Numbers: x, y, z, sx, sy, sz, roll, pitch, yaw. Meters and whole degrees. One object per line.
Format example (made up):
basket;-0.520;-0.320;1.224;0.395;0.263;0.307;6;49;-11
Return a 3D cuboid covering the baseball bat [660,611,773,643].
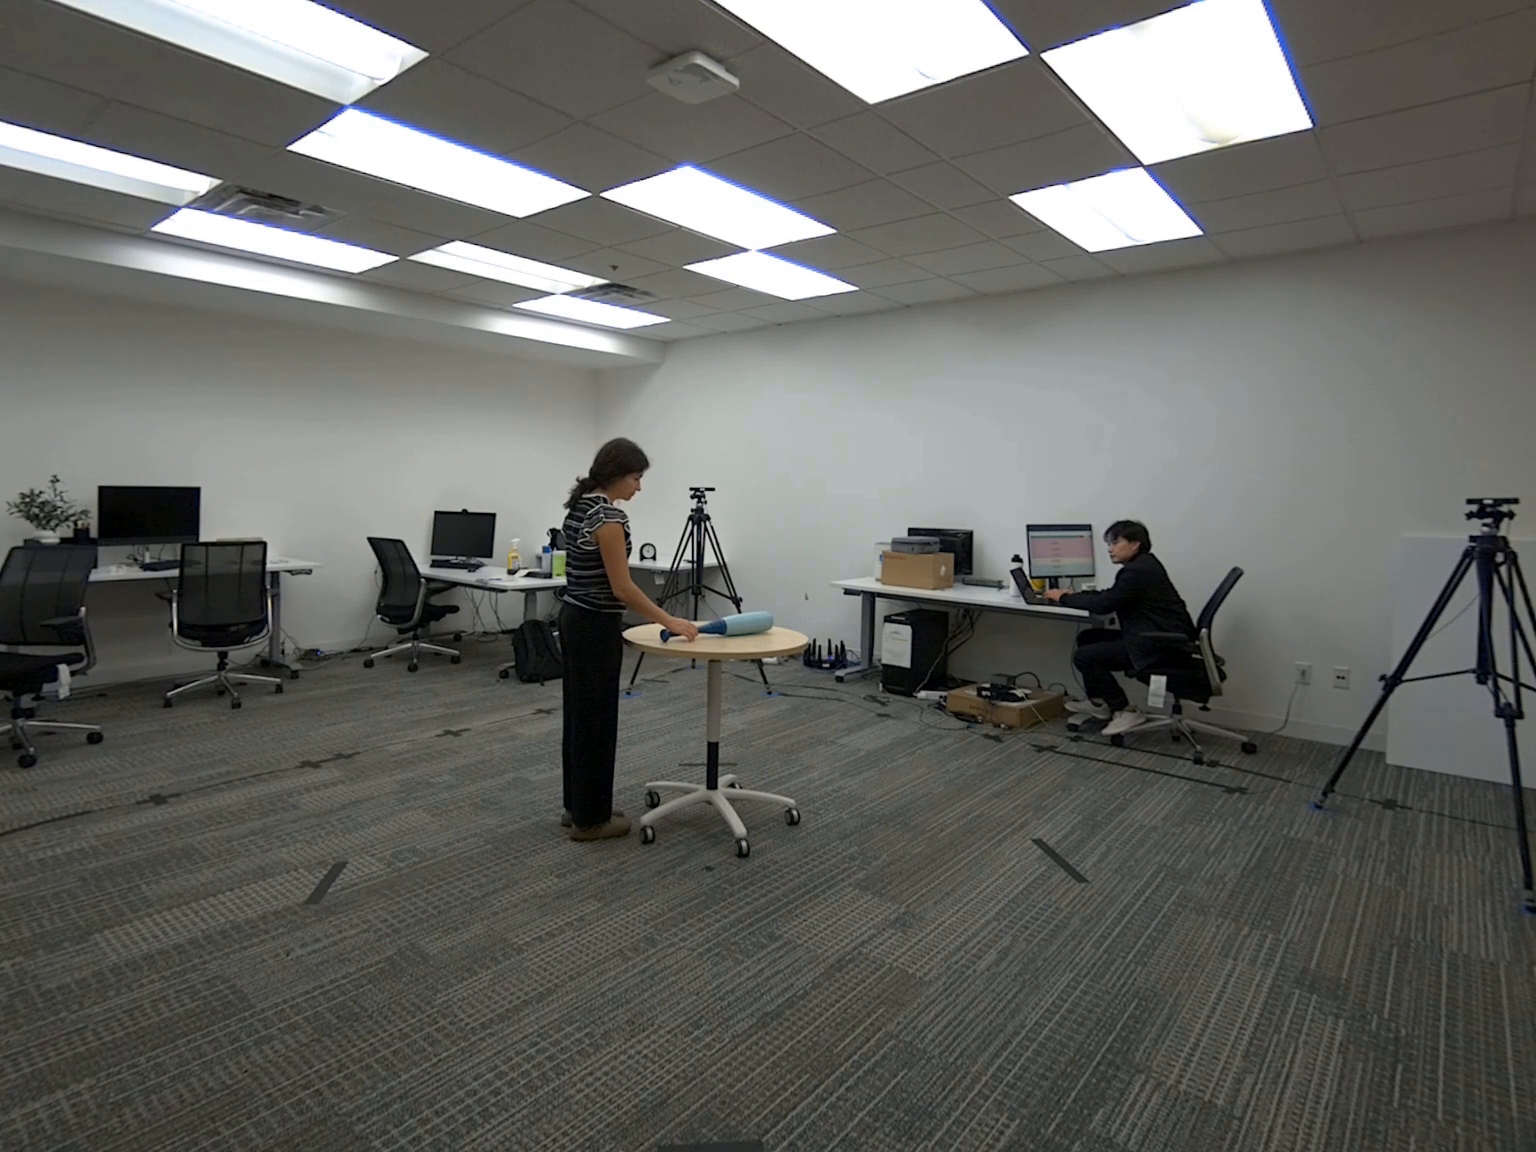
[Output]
baseball bat;-0.222;0.215;3.484;0.528;0.088;0.092;-6;7;-35
